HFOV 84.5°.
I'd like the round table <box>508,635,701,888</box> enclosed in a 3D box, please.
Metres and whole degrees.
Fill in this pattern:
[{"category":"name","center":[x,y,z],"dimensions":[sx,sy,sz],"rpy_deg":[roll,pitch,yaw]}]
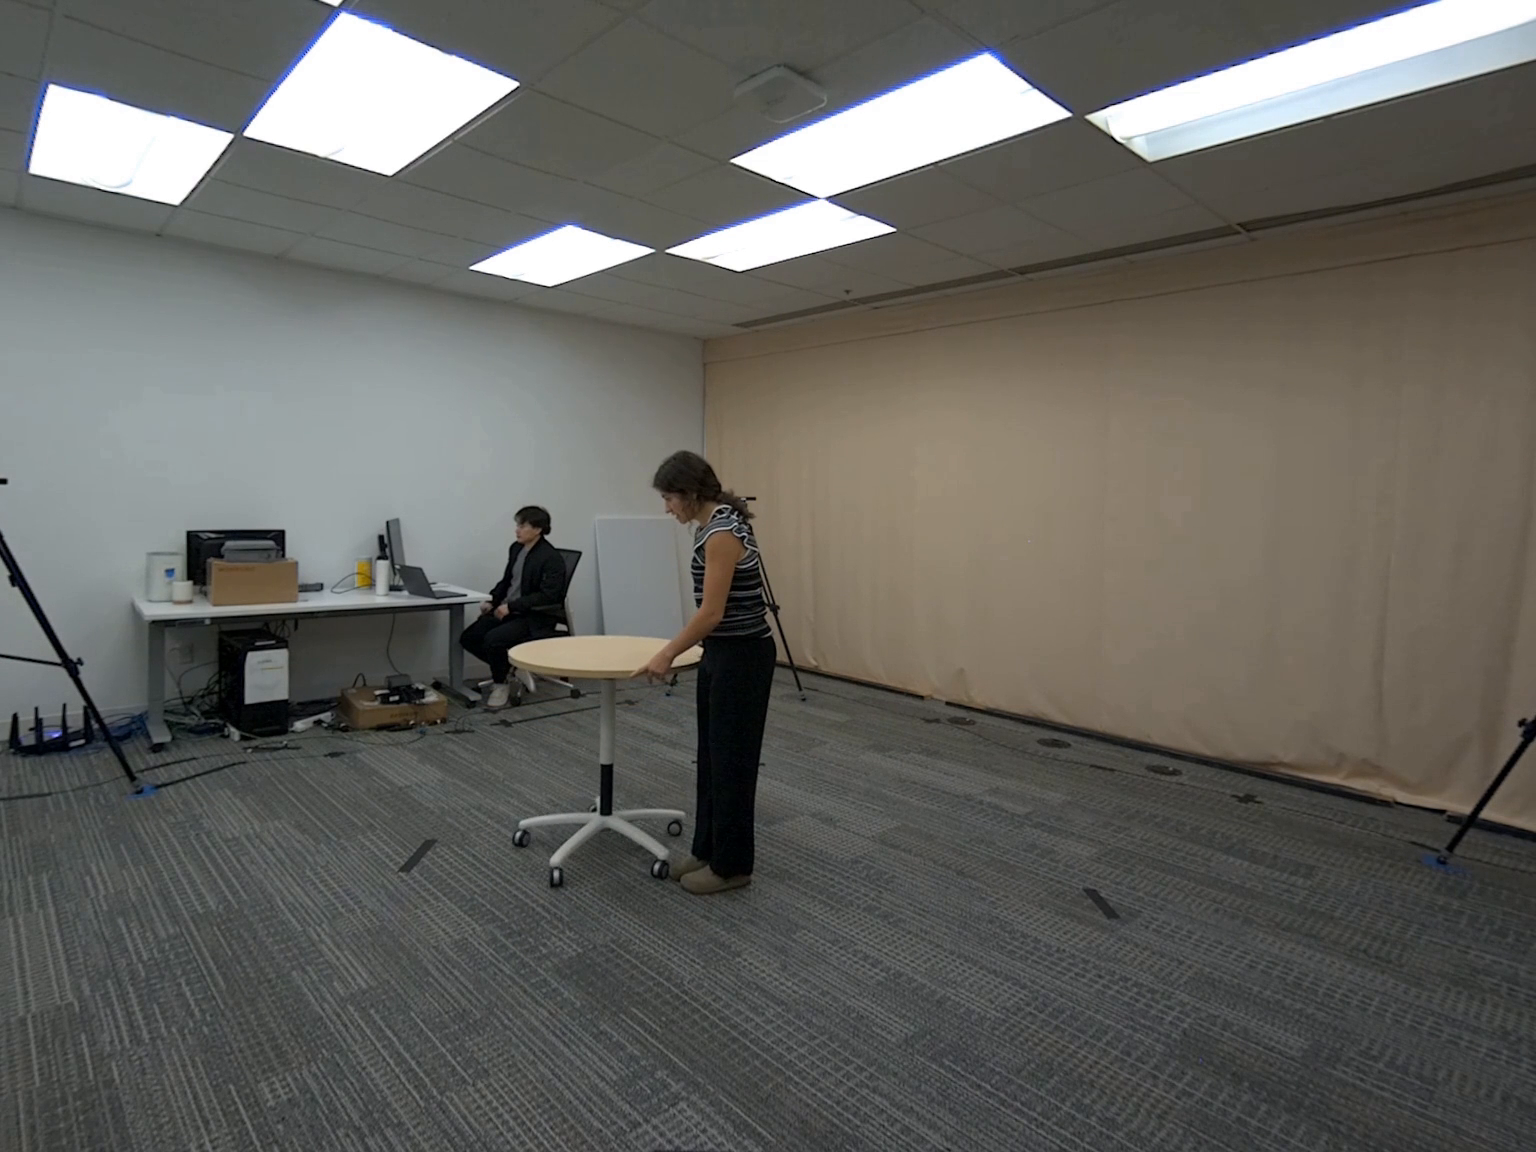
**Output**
[{"category":"round table","center":[-0.632,0.683,3.282],"dimensions":[0.784,0.785,0.787],"rpy_deg":[1,3,-1]}]
